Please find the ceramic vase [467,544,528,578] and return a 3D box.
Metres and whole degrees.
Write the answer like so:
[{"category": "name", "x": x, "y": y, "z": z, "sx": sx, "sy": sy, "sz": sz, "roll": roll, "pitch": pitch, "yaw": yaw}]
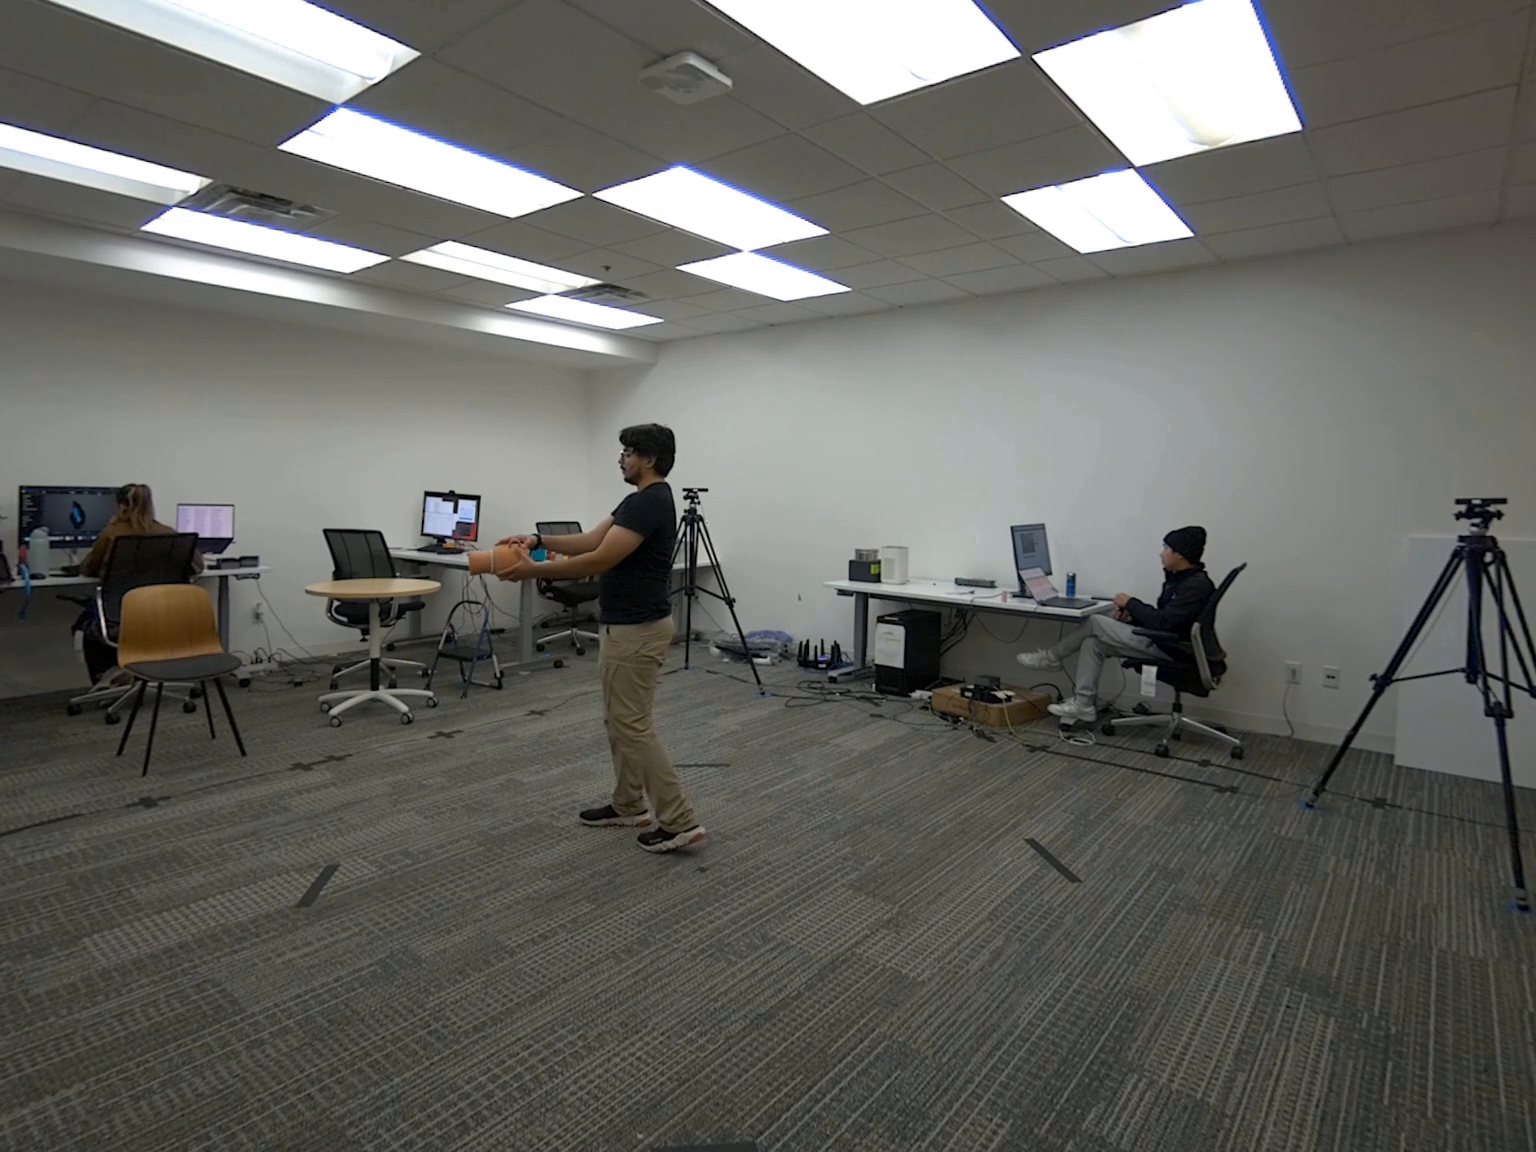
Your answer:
[{"category": "ceramic vase", "x": -1.066, "y": -0.060, "z": 3.325, "sx": 0.216, "sy": 0.160, "sz": 0.136, "roll": -3, "pitch": -4, "yaw": -15}]
